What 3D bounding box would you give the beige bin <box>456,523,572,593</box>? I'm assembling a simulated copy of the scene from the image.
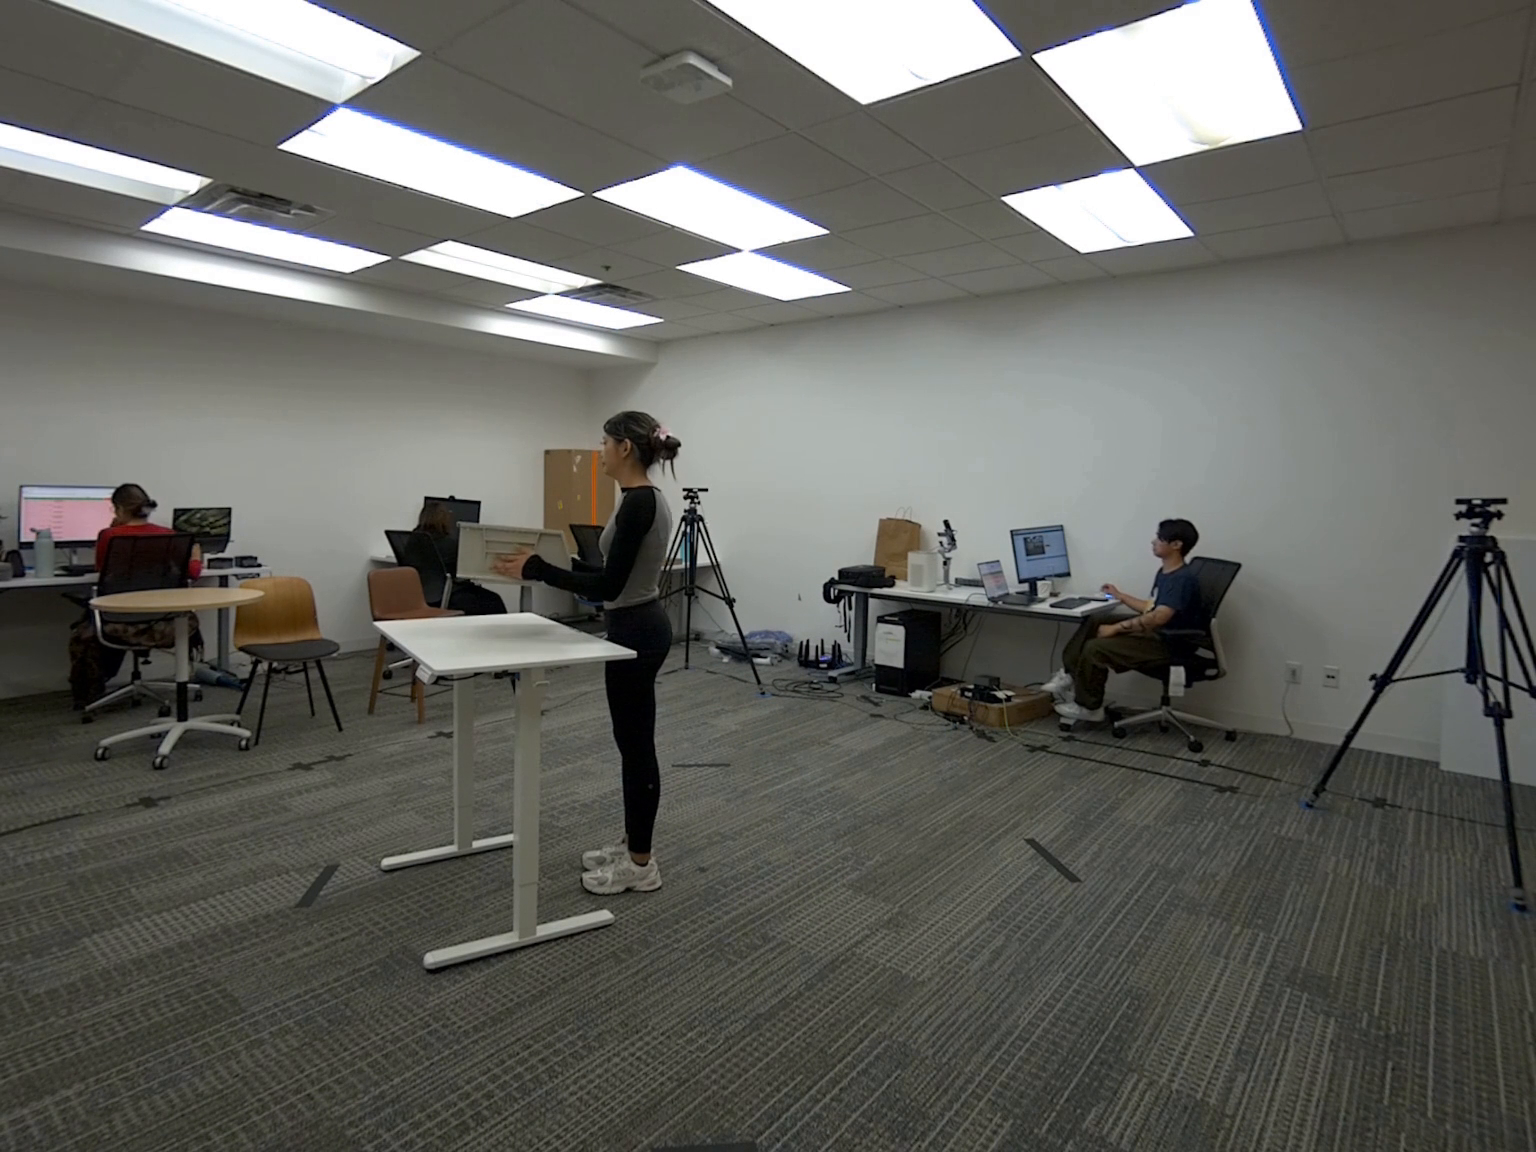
[{"bbox_3d":[-0.890,-0.072,3.005,0.373,0.189,0.426,1,-2,-11],"label":"beige bin"}]
